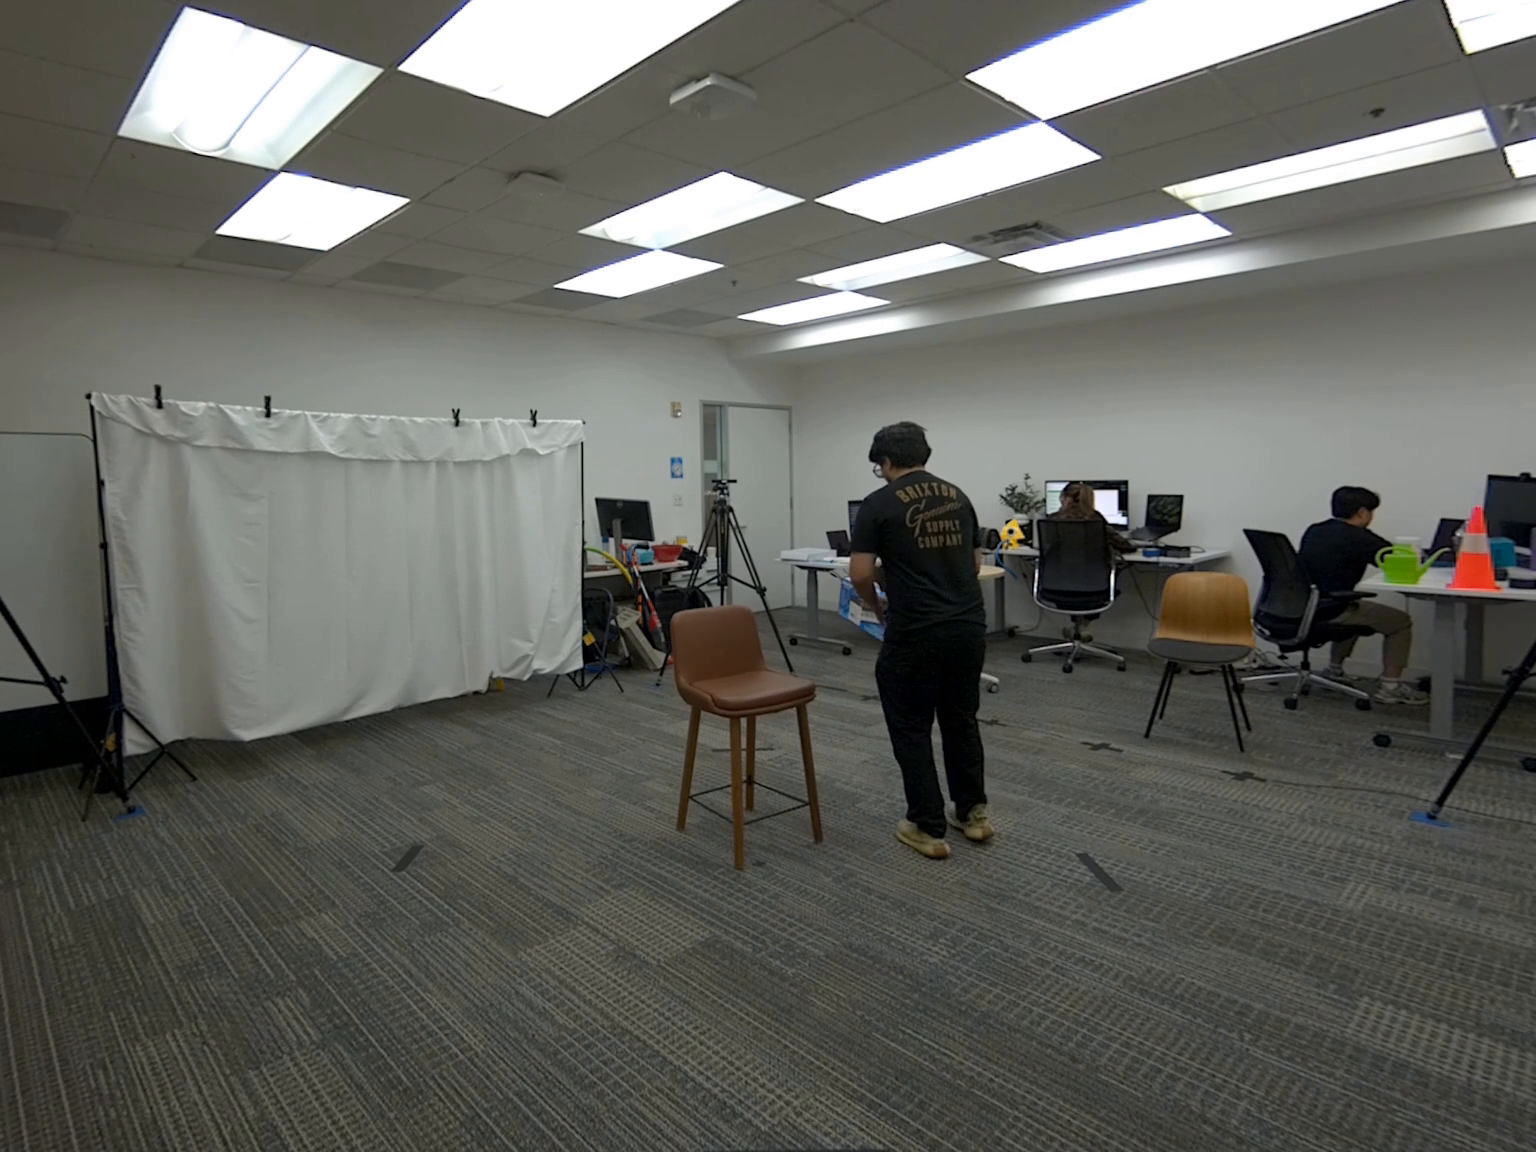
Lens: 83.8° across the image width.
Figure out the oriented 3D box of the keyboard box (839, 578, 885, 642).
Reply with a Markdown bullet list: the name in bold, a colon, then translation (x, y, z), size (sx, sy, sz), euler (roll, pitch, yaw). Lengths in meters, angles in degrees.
- **keyboard box**: translation (0.441, 0.146, 3.620), size (0.058, 0.174, 0.450), euler (0, 13, -24)
